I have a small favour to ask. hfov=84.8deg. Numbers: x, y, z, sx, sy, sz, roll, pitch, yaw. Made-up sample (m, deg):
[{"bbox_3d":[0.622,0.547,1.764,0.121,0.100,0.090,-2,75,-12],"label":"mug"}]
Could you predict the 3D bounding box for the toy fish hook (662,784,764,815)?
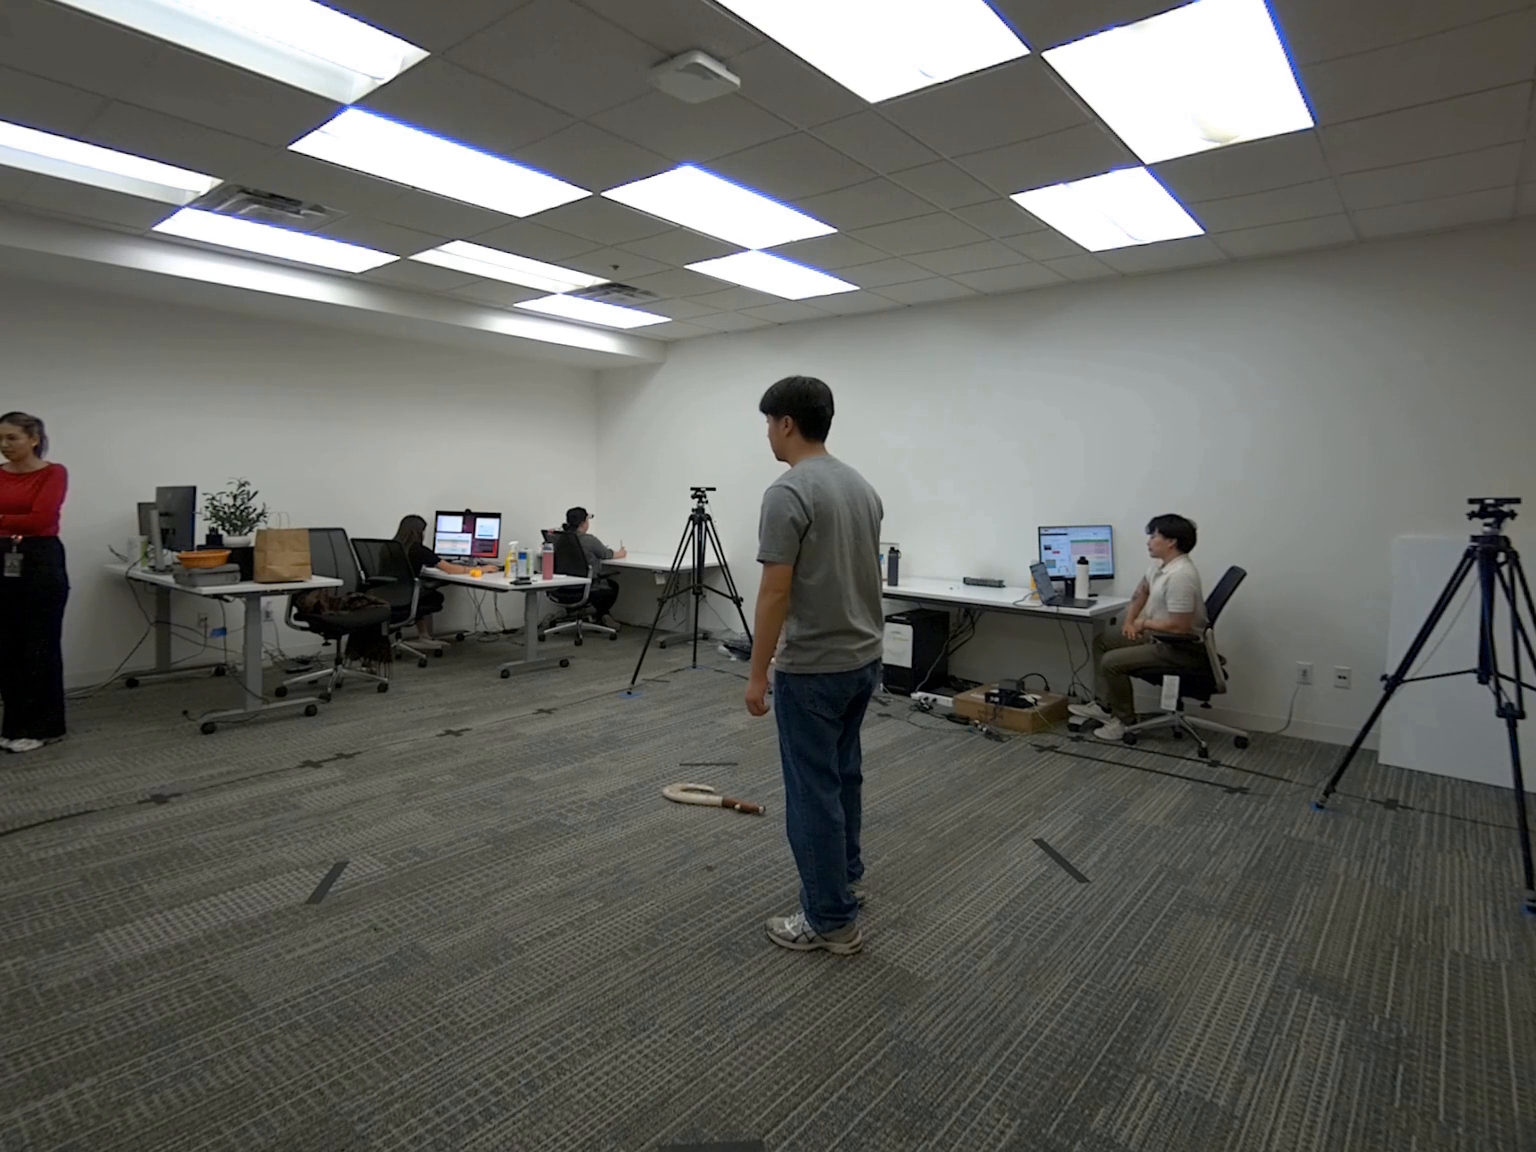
[{"bbox_3d":[-0.236,0.975,3.782,0.520,0.048,0.220,4,8,25],"label":"toy fish hook"}]
